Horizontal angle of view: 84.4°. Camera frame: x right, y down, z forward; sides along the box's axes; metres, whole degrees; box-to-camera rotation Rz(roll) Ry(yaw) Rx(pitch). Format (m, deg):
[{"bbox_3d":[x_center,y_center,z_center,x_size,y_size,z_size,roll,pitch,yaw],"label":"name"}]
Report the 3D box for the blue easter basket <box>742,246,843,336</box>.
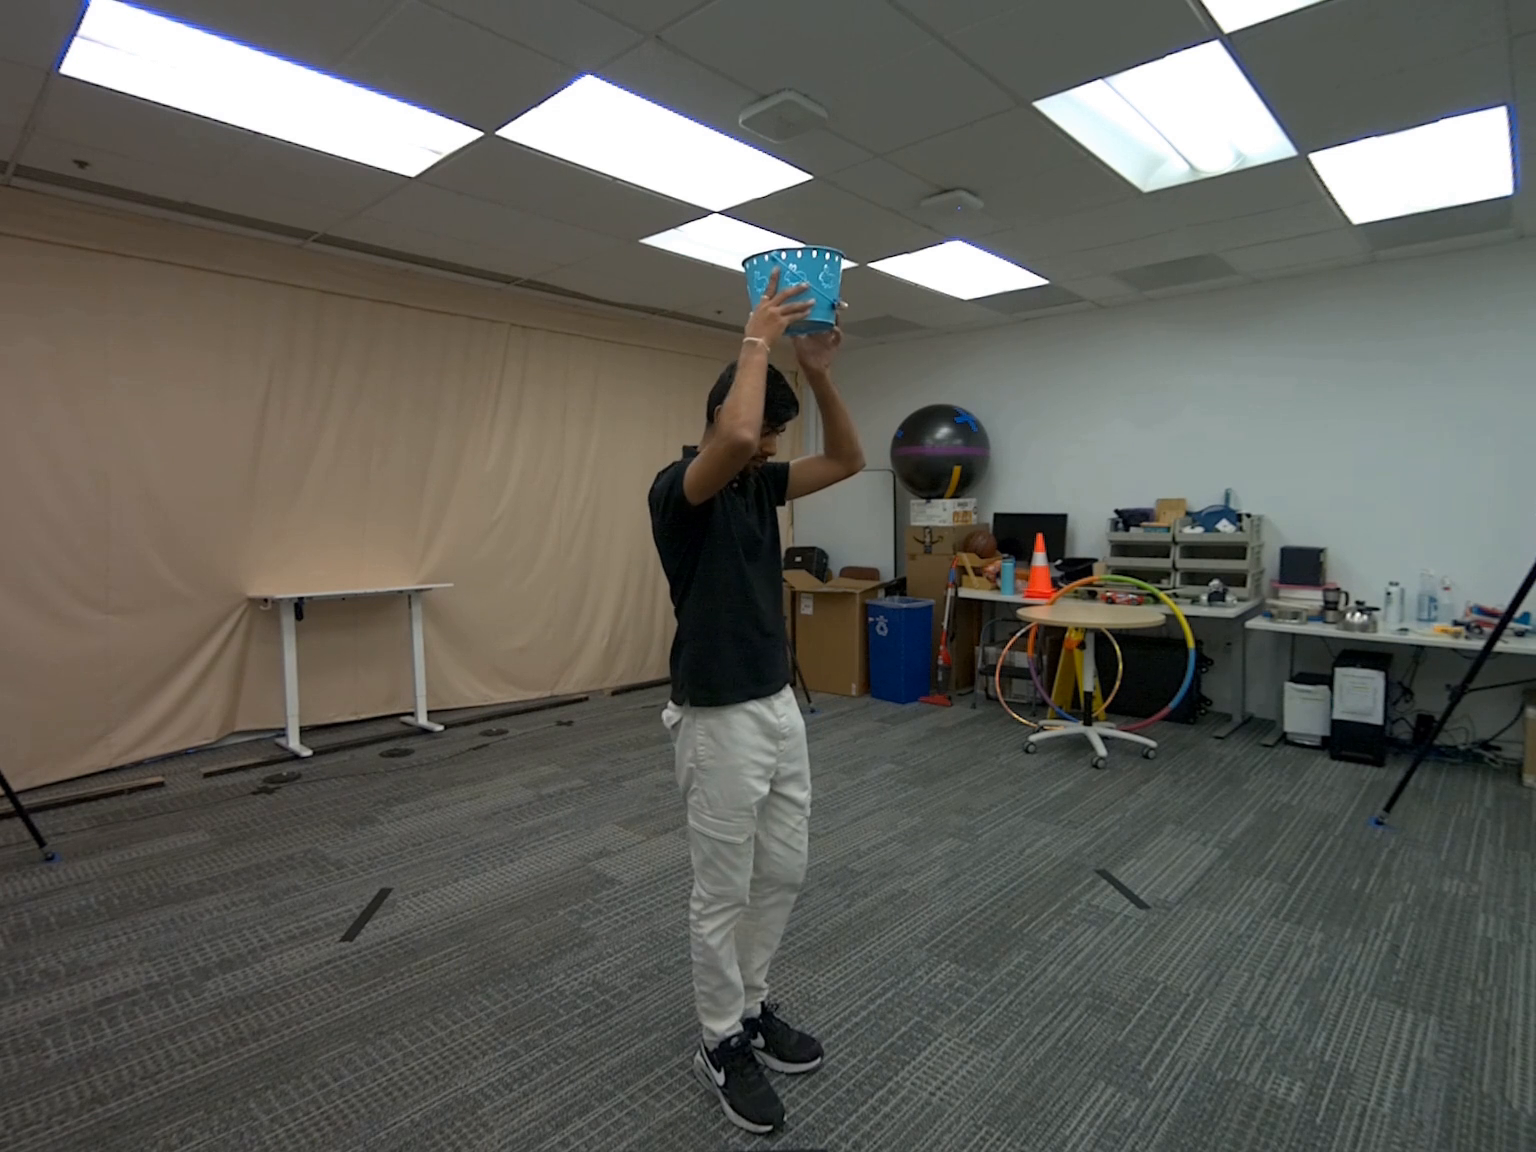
[{"bbox_3d":[0.068,-0.644,1.893,0.243,0.155,0.245,-2,7,-2],"label":"blue easter basket"}]
